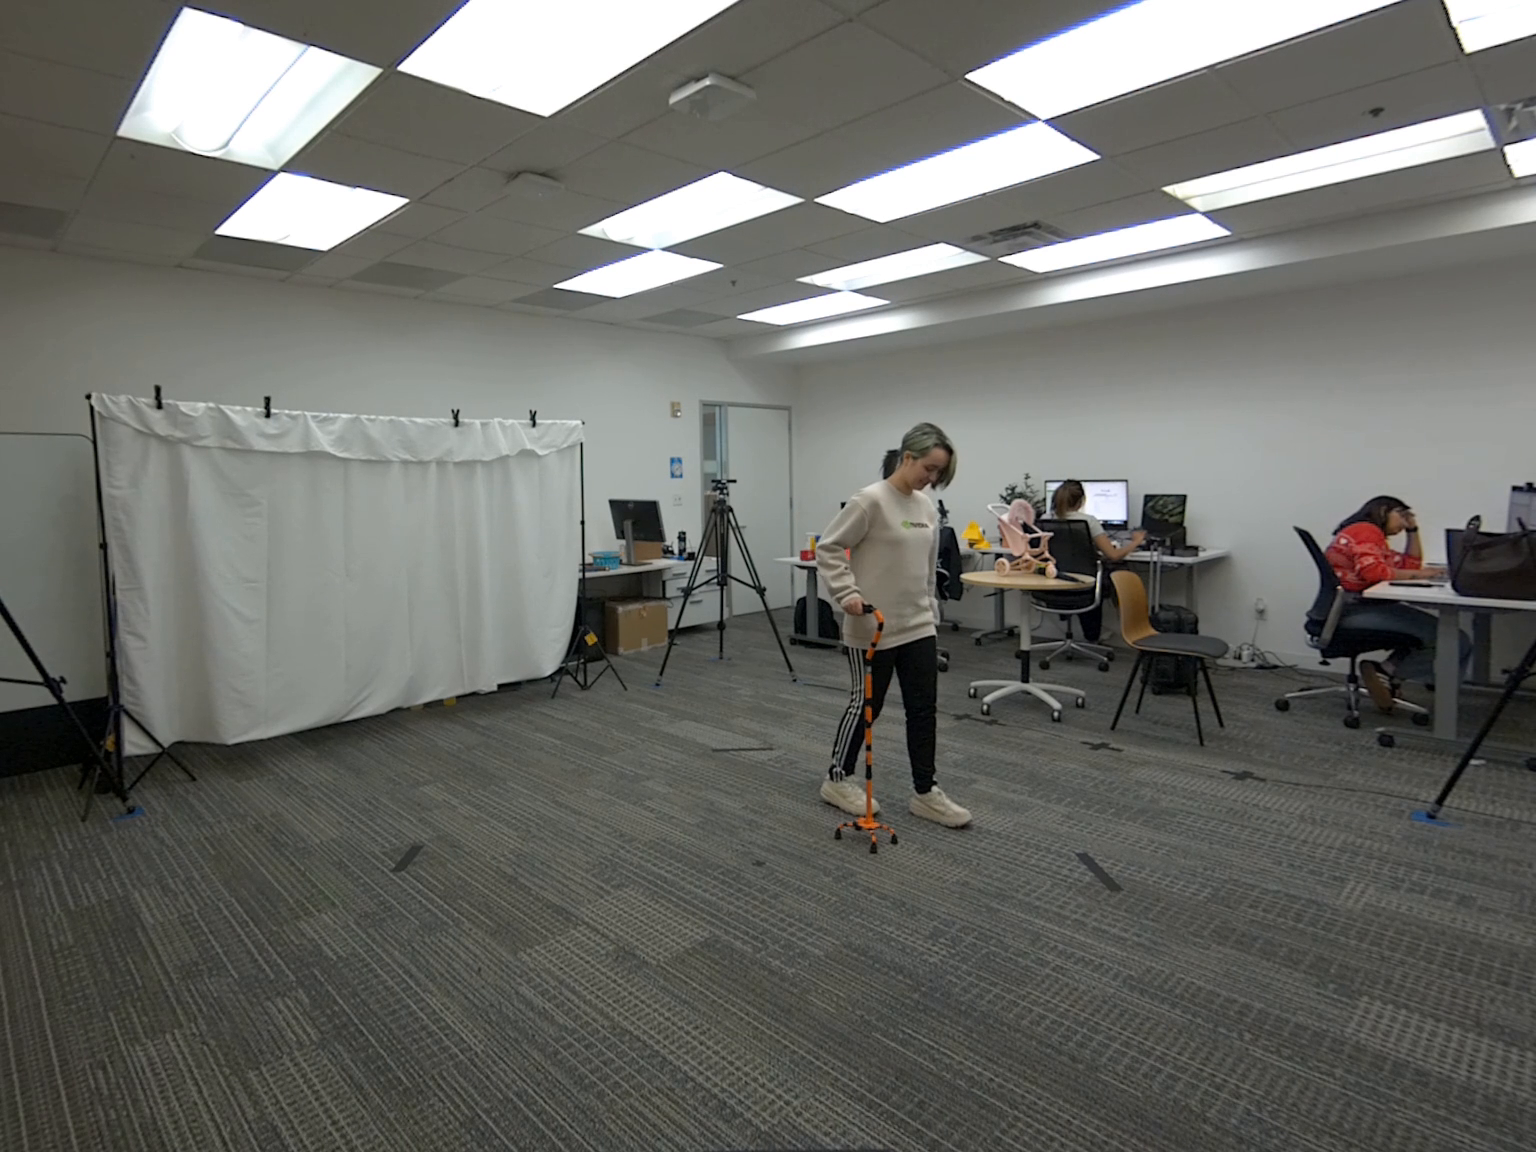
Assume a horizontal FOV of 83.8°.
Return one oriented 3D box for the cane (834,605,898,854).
[{"bbox_3d":[0.373,0.571,3.269,0.147,0.905,0.213,-3,4,-41],"label":"cane"}]
